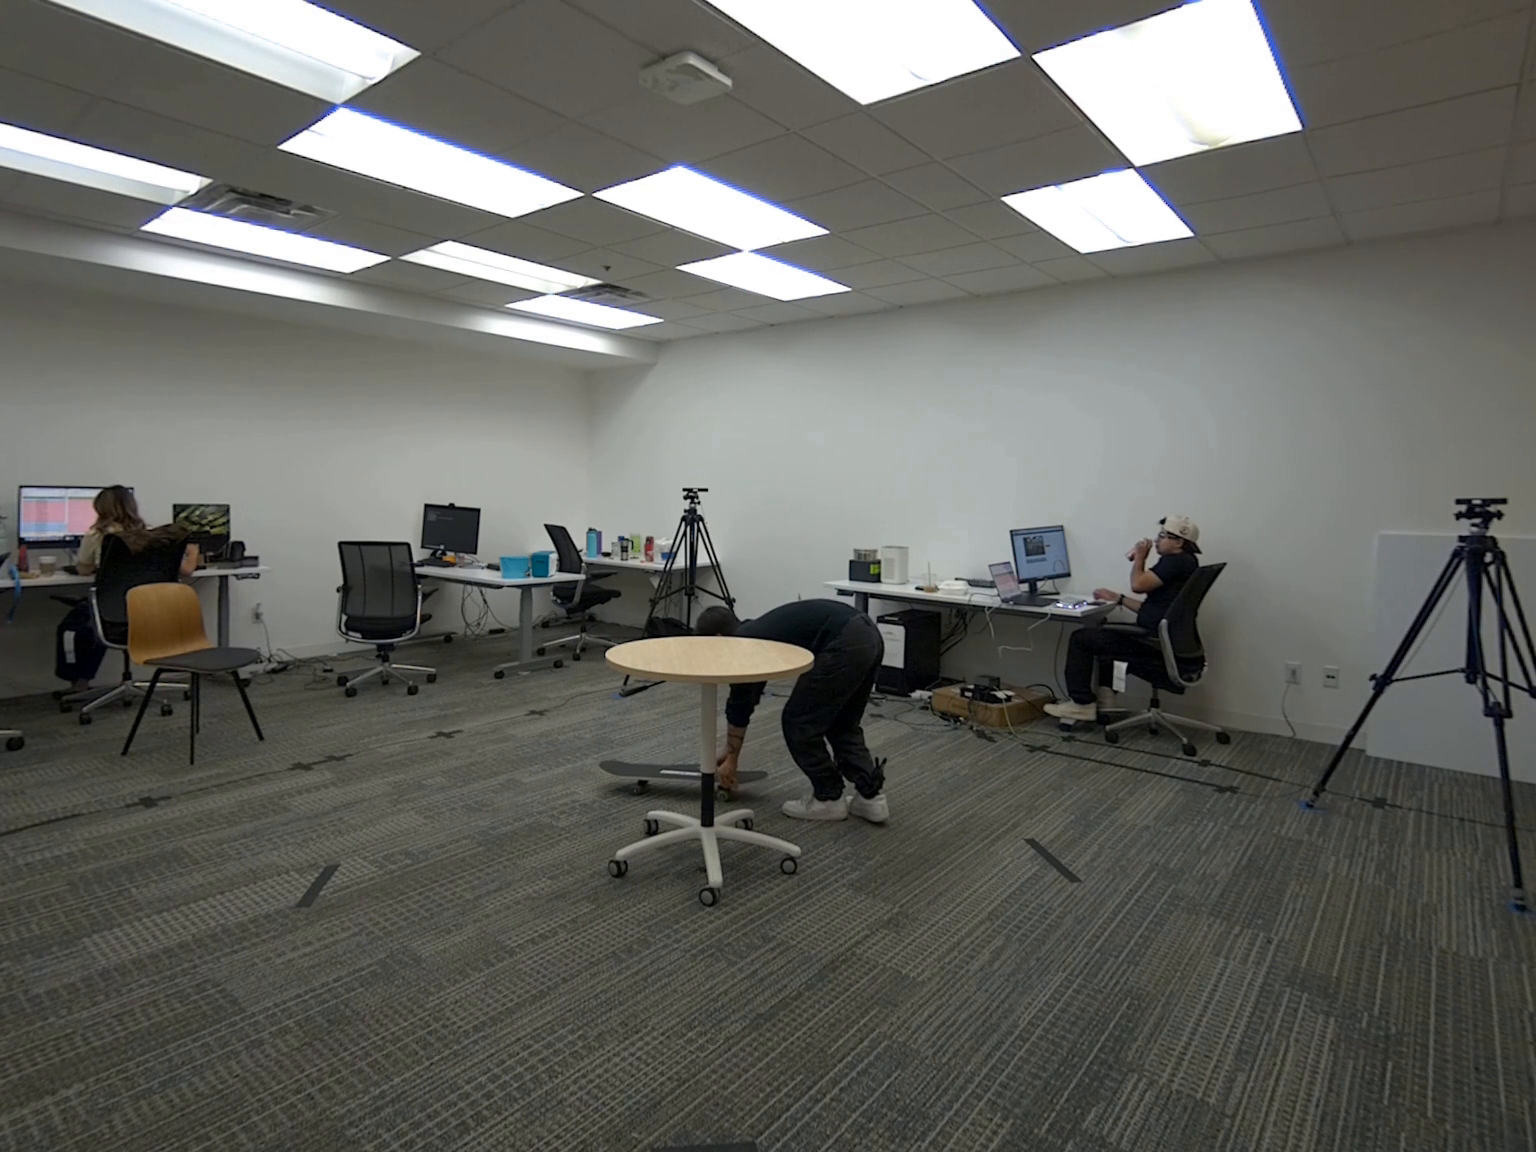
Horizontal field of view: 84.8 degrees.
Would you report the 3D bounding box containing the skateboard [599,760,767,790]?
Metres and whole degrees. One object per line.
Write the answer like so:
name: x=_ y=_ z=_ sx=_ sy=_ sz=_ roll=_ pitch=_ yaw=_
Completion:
skateboard: x=-0.407 y=0.932 z=3.911 sx=0.791 sy=0.110 sz=0.193 roll=2 pitch=4 yaw=6
